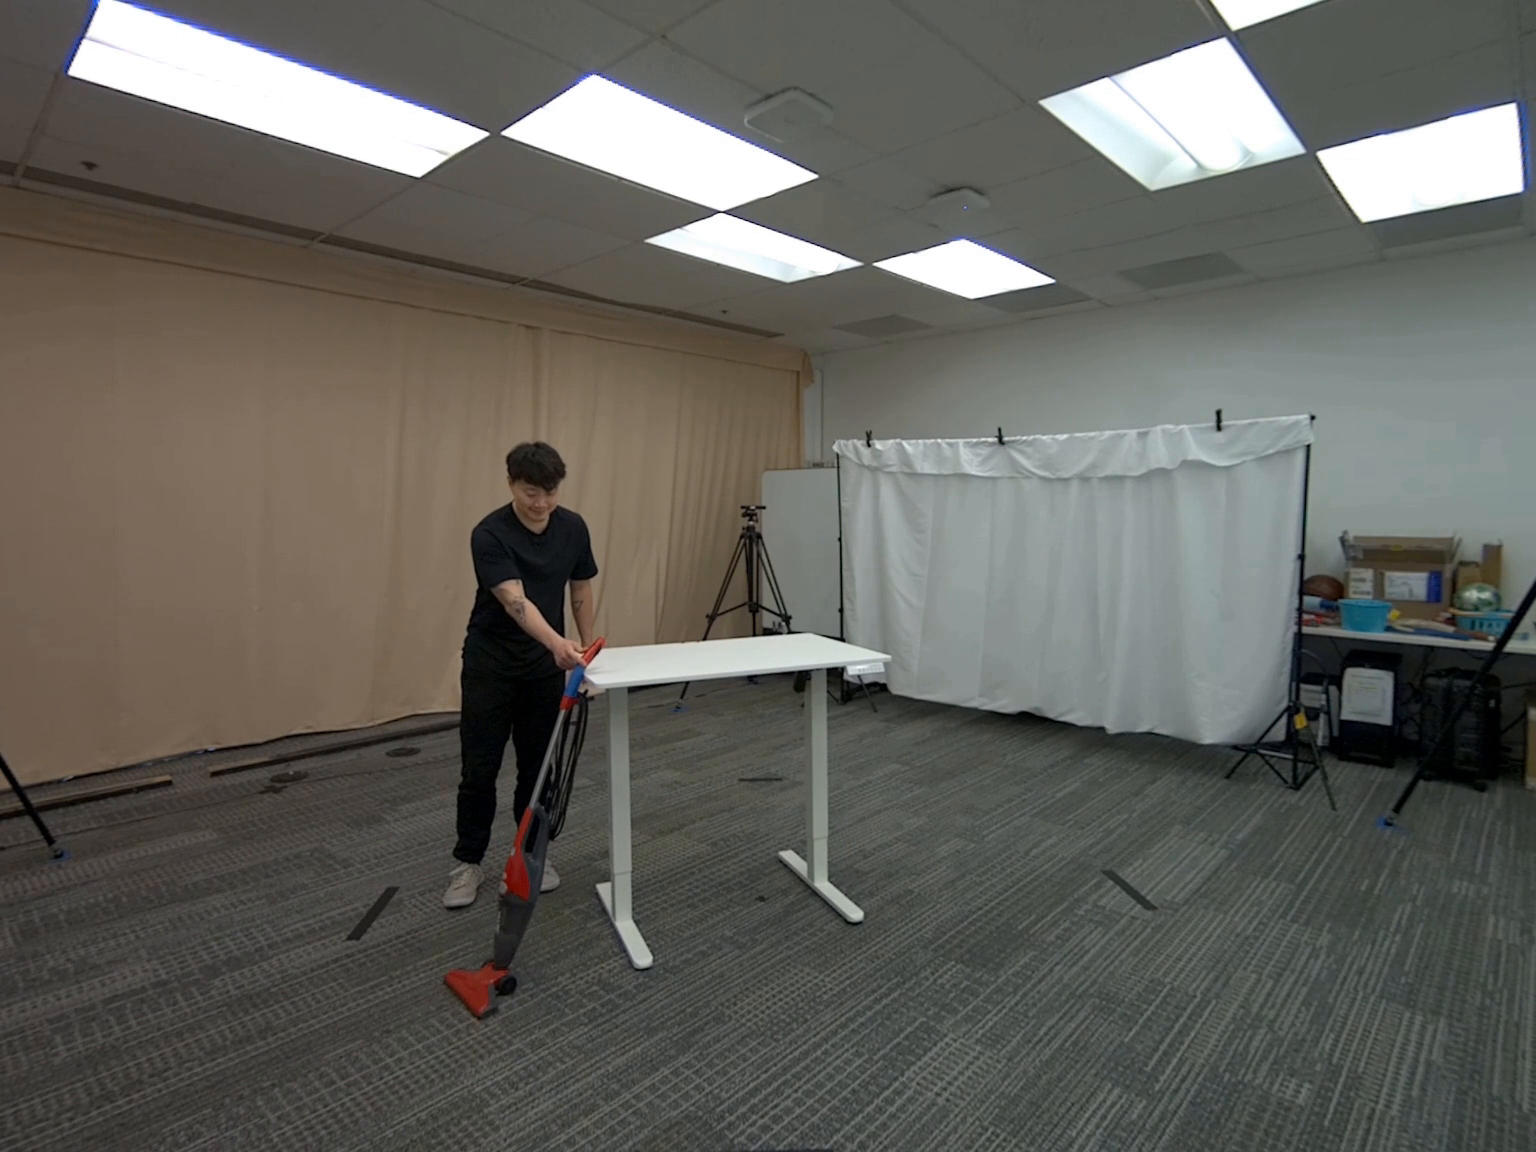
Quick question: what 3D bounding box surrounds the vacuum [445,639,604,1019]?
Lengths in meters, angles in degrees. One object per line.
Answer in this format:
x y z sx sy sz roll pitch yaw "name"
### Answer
-0.678 0.707 2.517 0.261 1.053 0.139 5 -15 44 "vacuum"
